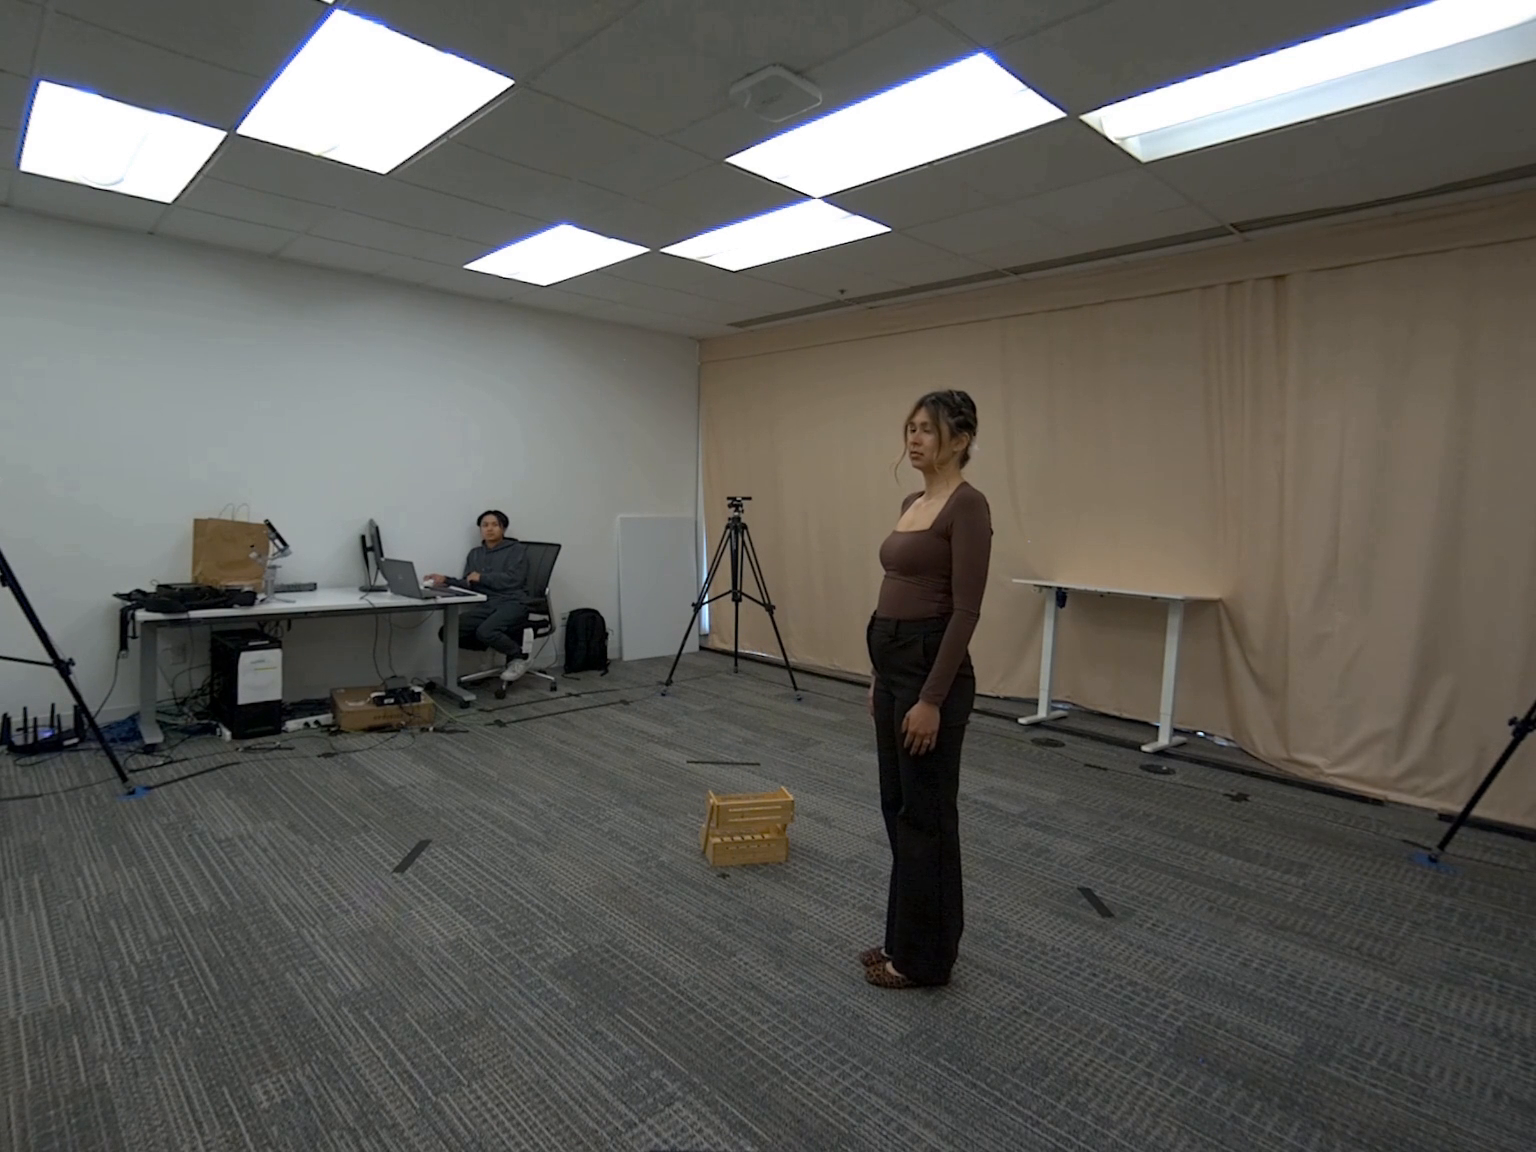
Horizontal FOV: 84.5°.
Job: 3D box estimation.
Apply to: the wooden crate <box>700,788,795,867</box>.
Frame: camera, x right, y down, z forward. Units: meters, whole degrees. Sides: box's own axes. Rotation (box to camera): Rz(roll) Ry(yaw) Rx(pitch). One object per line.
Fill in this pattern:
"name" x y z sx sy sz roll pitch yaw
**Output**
"wooden crate" -0.097 0.955 3.300 0.320 0.272 0.306 0 5 -16
